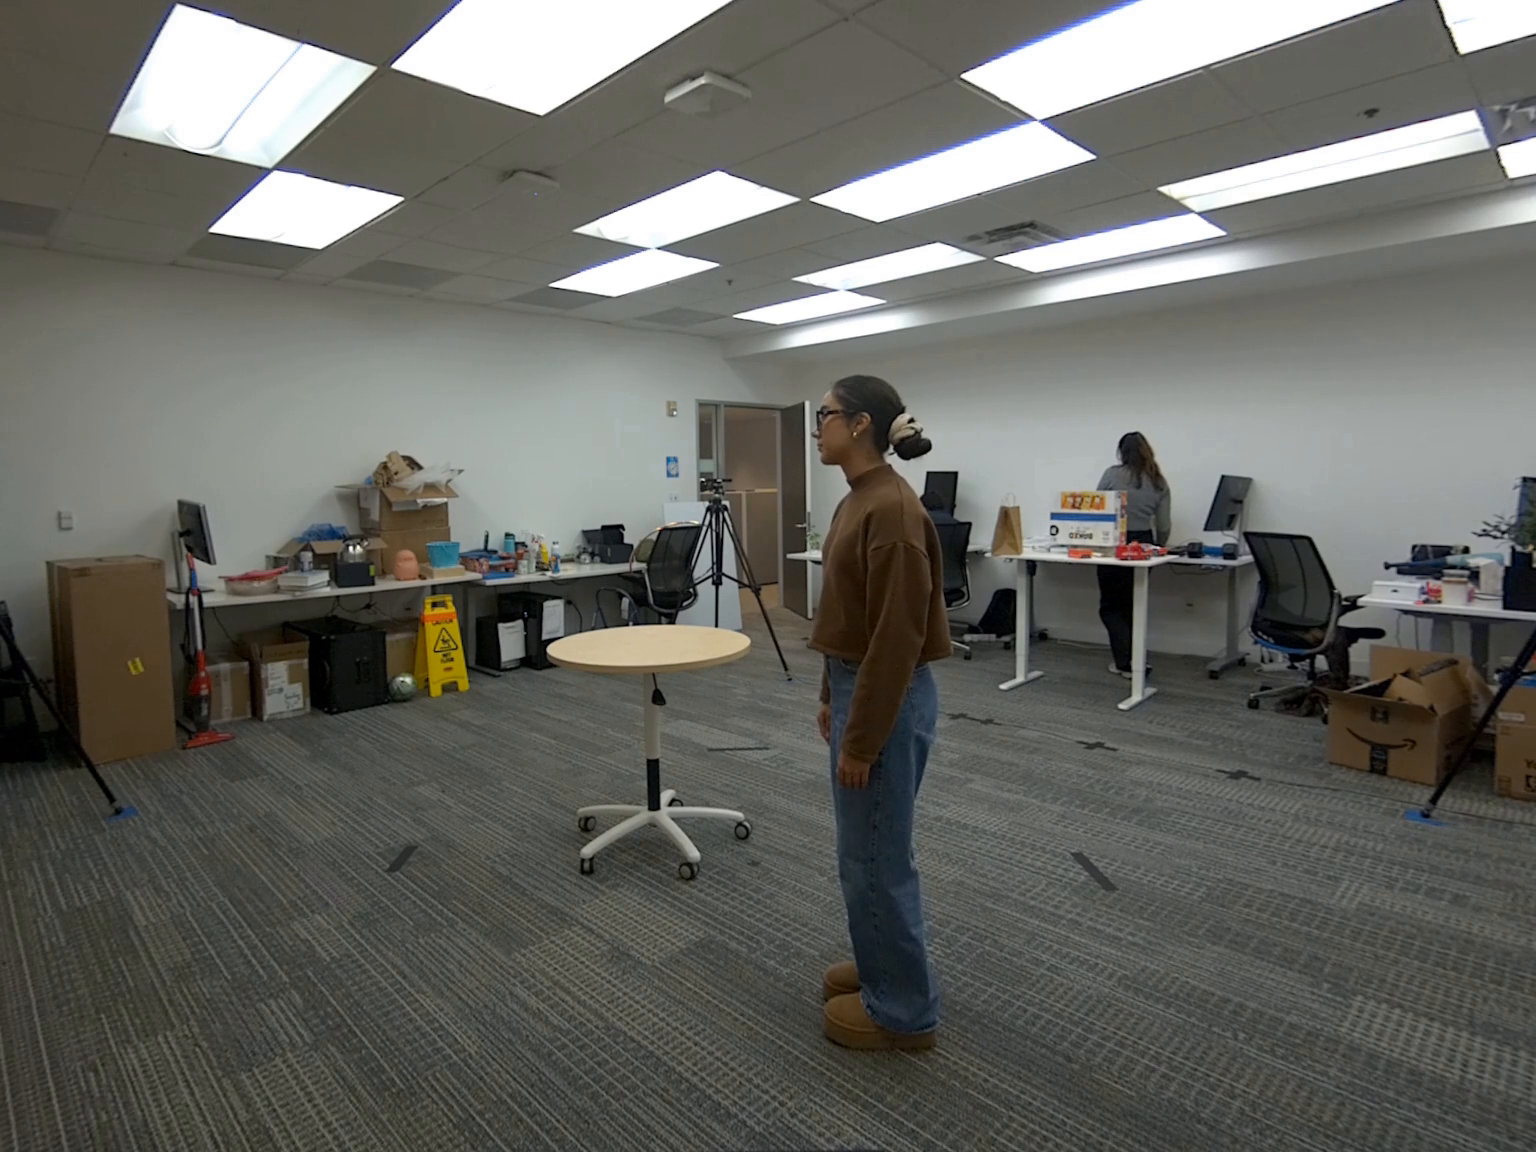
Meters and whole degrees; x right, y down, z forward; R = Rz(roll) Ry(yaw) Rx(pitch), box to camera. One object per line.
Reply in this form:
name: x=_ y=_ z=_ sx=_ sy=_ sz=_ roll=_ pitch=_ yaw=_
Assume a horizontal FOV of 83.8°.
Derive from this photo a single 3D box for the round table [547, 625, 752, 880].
round table: x=-0.443 y=0.641 z=3.268 sx=0.784 sy=0.784 sz=0.789 roll=-1 pitch=5 yaw=-2
